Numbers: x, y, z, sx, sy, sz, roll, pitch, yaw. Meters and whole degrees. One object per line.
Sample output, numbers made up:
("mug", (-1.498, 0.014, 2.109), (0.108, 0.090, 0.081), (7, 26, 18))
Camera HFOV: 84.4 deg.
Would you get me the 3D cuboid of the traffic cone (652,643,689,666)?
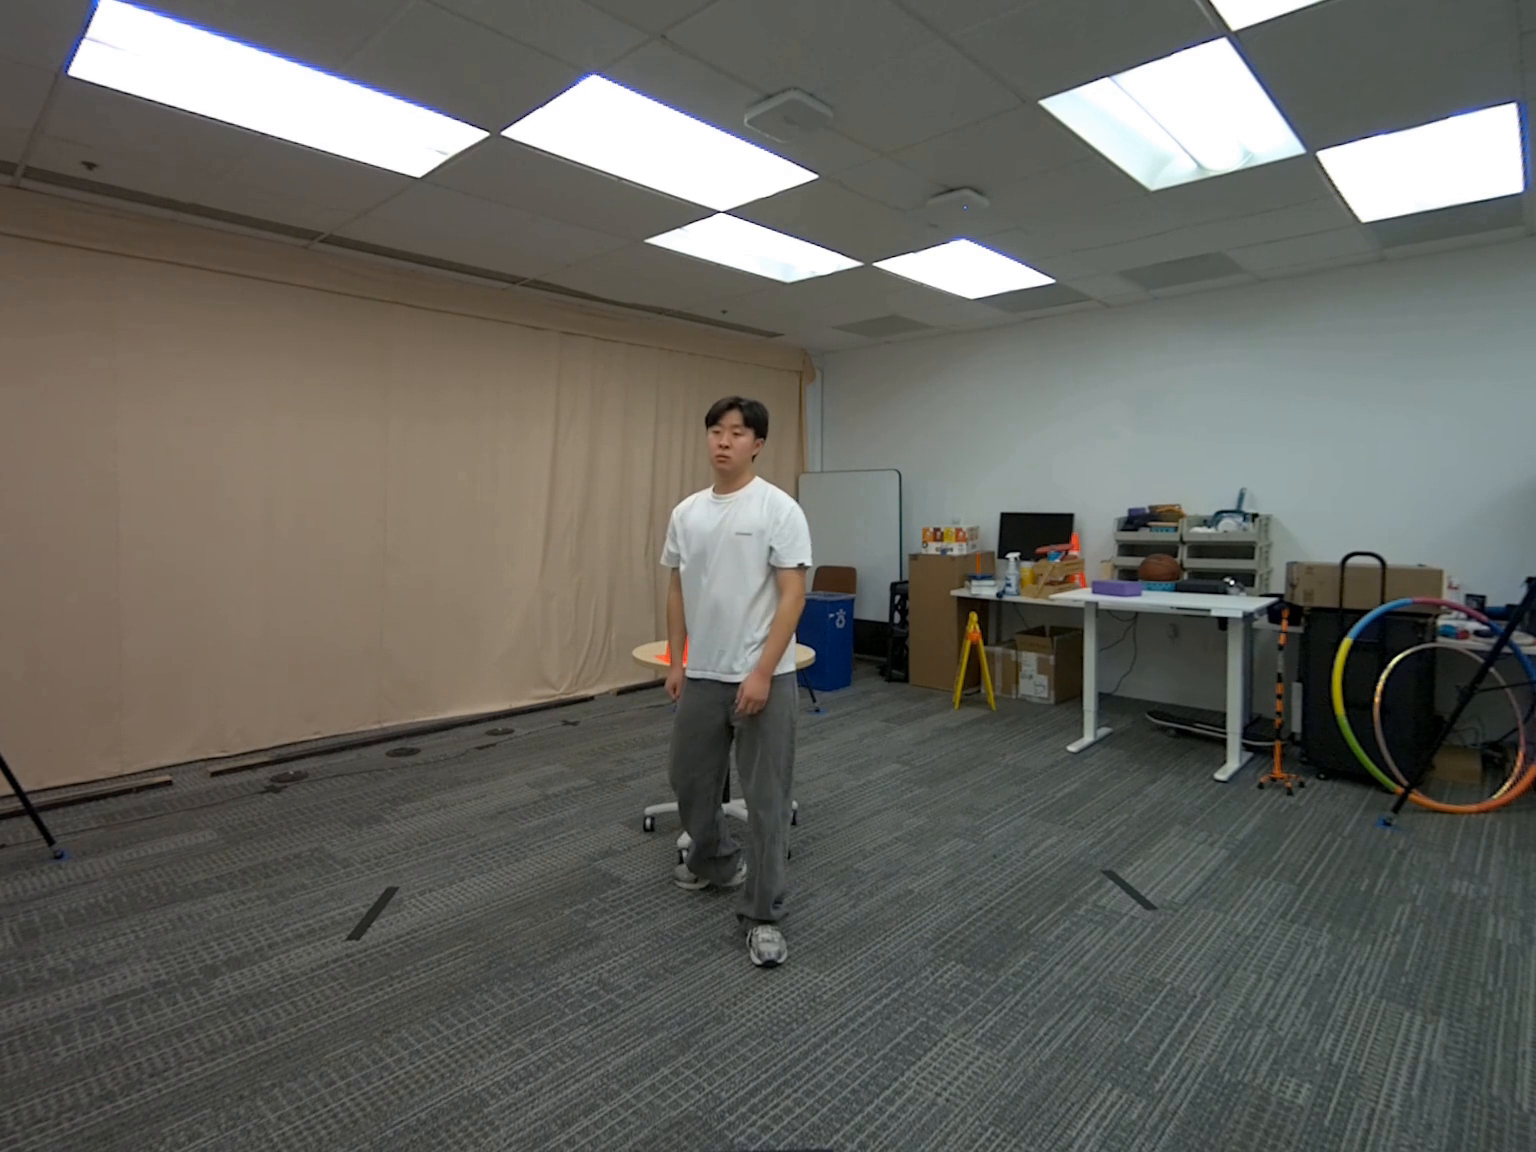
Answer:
("traffic cone", (-0.315, 0.143, 3.352), (0.200, 0.383, 0.209), (2, 3, -27))
